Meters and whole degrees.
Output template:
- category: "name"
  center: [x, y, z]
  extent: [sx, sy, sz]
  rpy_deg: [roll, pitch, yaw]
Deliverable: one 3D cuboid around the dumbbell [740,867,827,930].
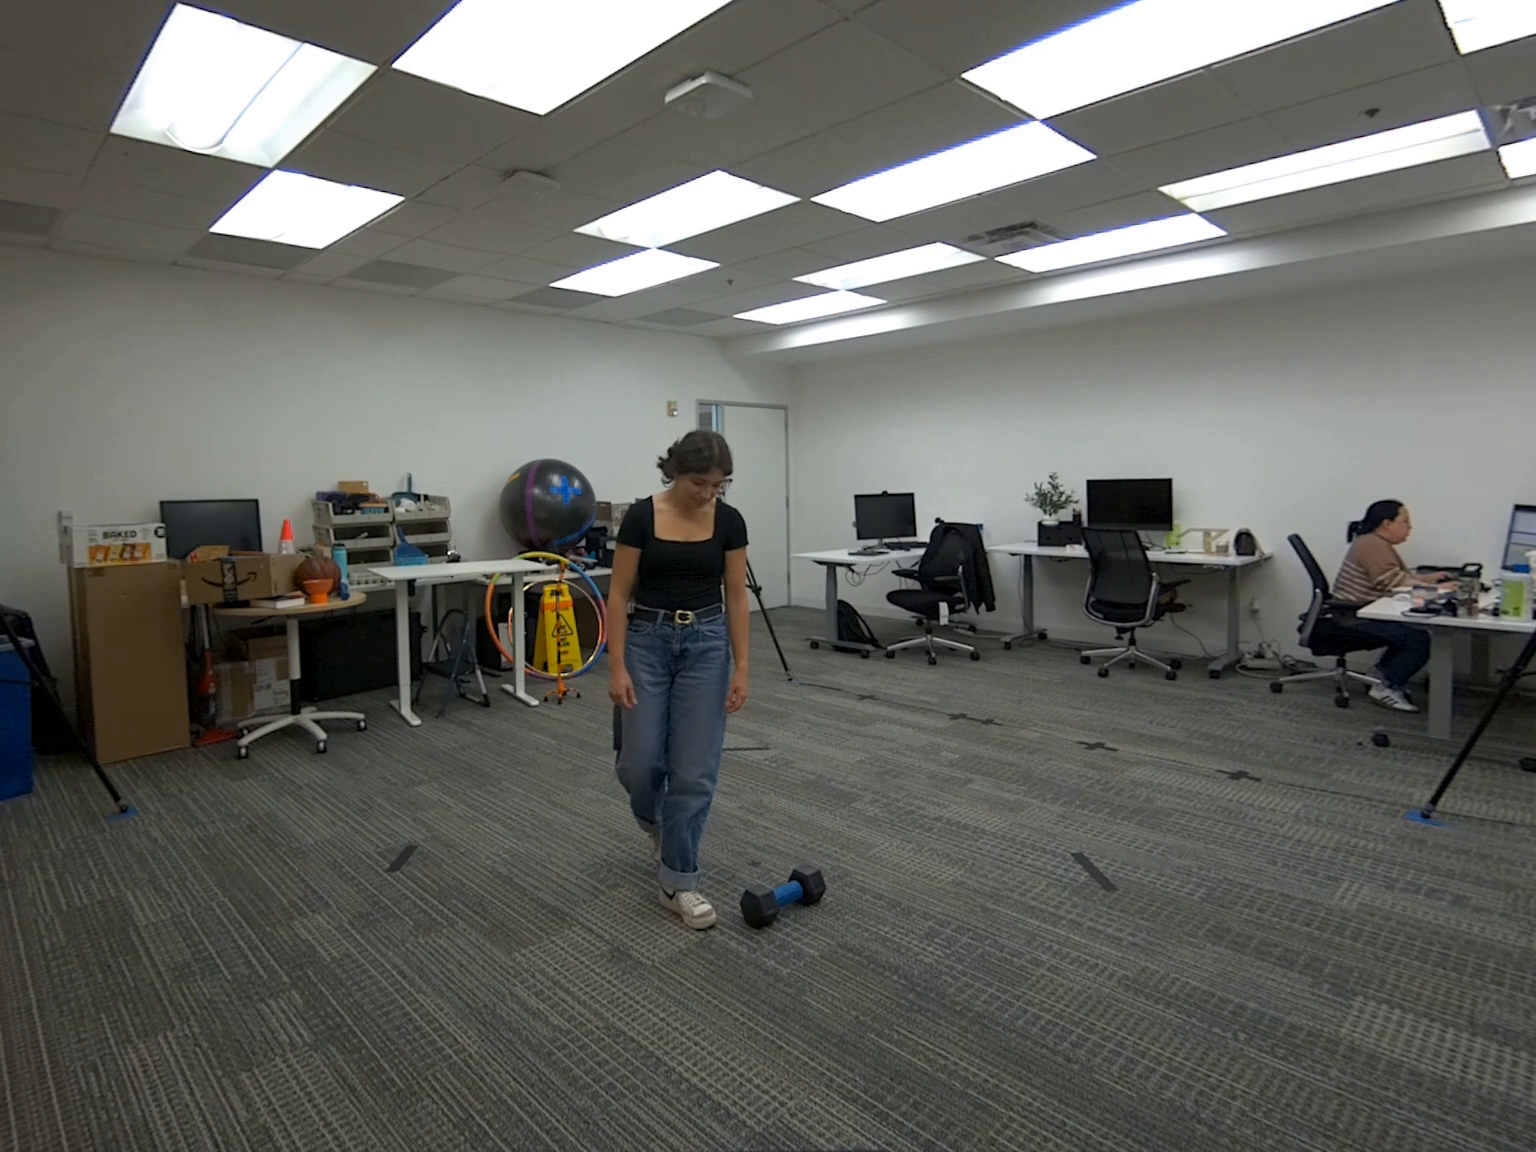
- category: "dumbbell"
  center: [0.051, 1.022, 2.757]
  extent: [0.286, 0.121, 0.113]
  rpy_deg: [-6, 39, -40]
